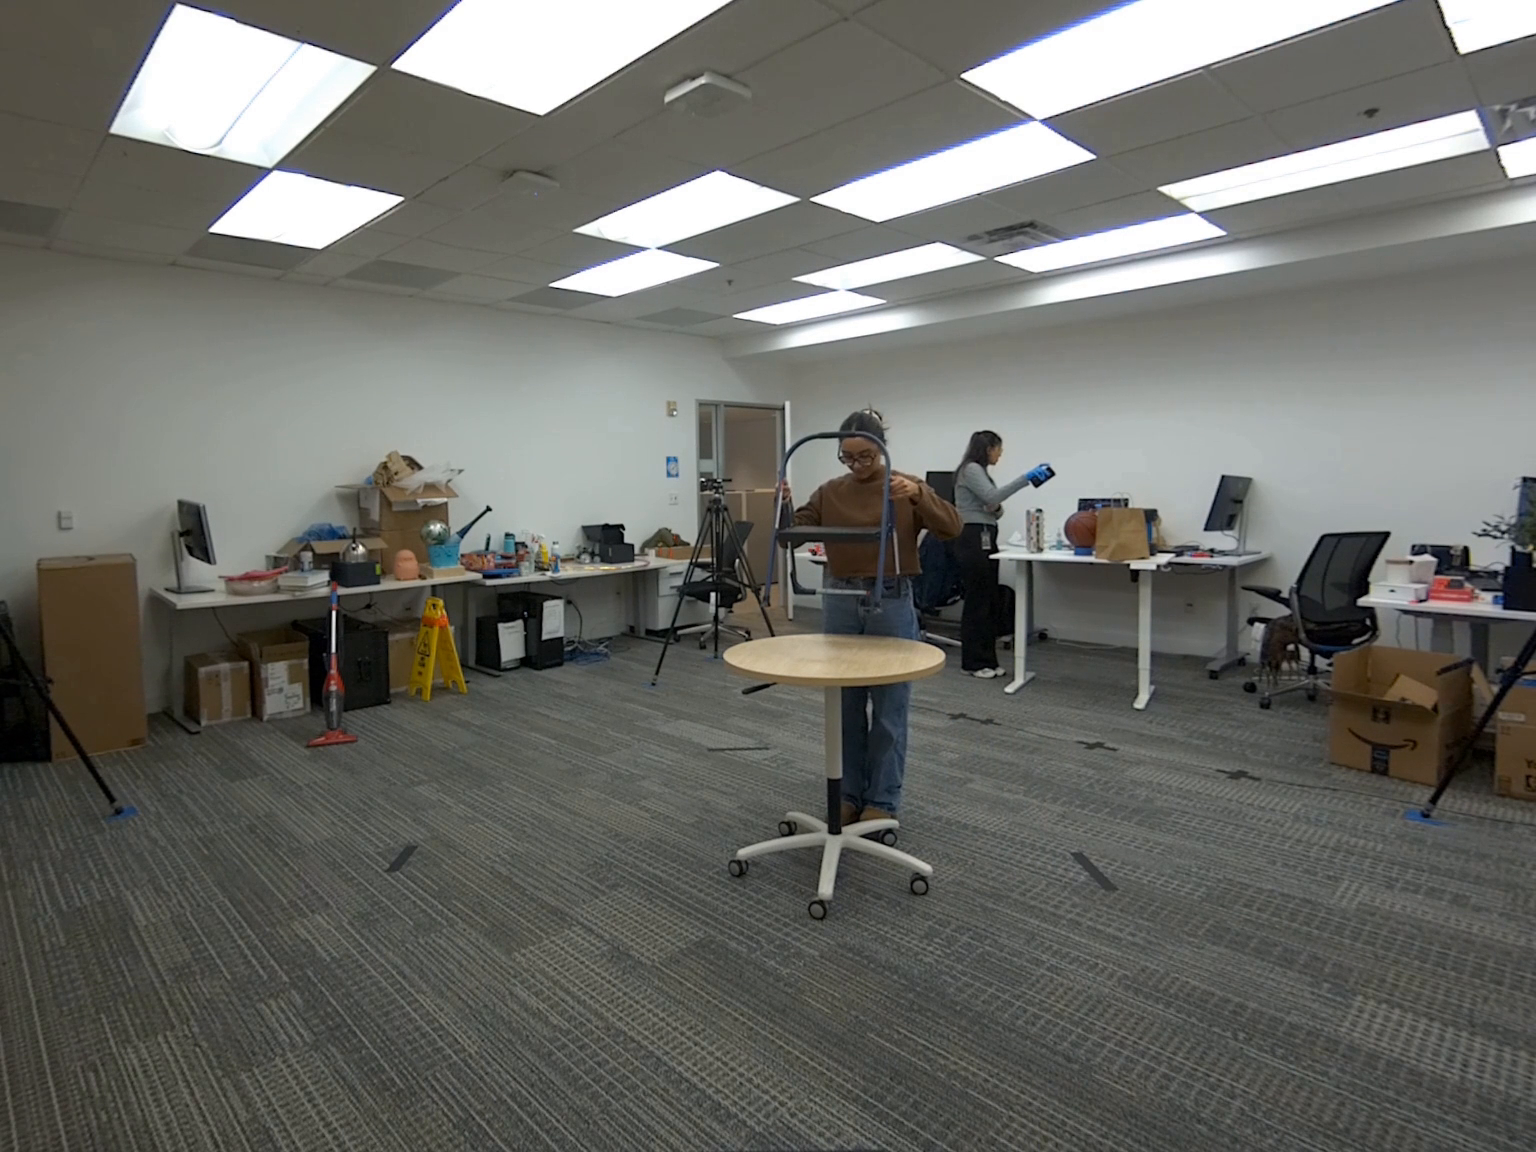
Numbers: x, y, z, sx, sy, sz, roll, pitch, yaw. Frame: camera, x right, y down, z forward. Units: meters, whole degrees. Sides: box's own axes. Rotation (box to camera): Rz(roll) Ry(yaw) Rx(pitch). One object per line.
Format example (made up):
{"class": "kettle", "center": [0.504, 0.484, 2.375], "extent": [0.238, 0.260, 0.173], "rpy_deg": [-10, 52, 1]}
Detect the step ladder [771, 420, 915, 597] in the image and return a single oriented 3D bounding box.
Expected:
{"class": "step ladder", "center": [0.233, -0.205, 3.025], "extent": [0.440, 0.603, 0.343], "rpy_deg": [1, 5, 24]}
